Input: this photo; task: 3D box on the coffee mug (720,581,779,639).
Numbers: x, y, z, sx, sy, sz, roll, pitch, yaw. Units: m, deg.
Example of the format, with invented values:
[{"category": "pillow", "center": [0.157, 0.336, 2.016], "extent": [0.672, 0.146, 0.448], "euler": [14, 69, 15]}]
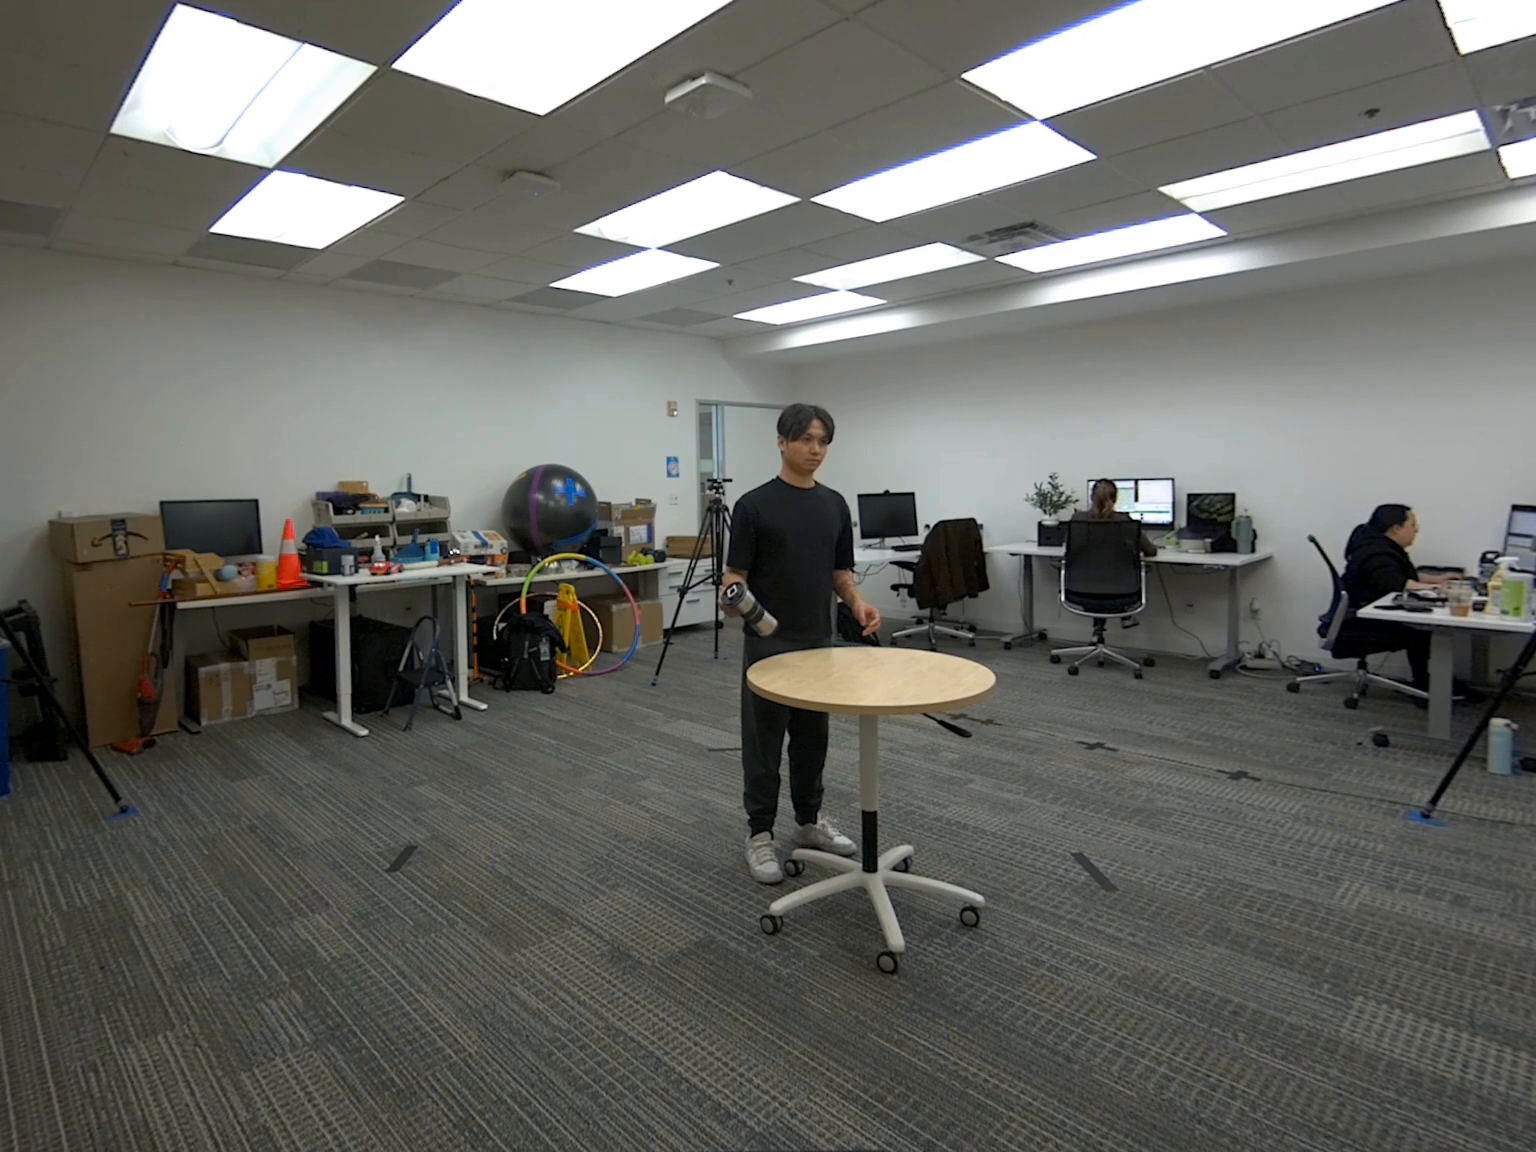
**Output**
[{"category": "coffee mug", "center": [-0.061, 0.110, 2.773], "extent": [0.125, 0.089, 0.196], "euler": [-8, -45, 42]}]
